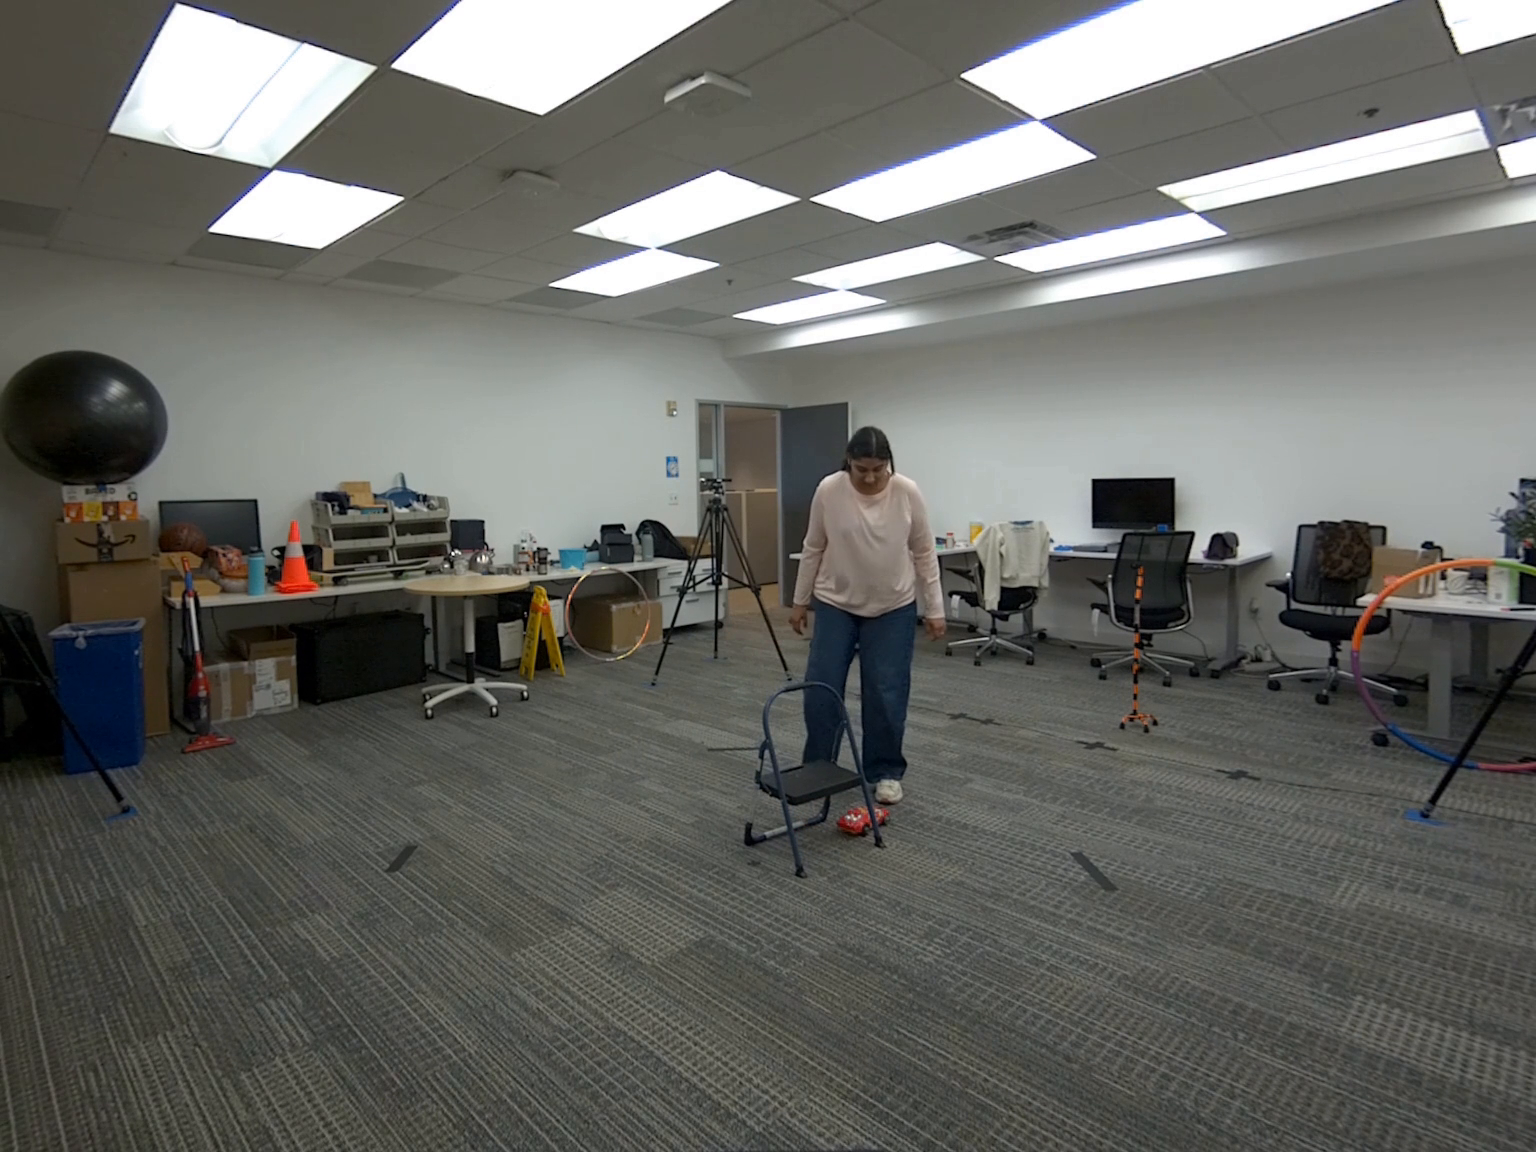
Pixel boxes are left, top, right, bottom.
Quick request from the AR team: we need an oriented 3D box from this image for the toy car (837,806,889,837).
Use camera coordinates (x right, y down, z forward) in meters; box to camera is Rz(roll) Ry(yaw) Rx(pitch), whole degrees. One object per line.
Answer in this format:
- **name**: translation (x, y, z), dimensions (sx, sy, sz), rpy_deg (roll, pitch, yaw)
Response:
- **toy car**: translation (0.377, 0.975, 3.403), dimensions (0.134, 0.083, 0.246), rpy_deg (4, -2, 44)
